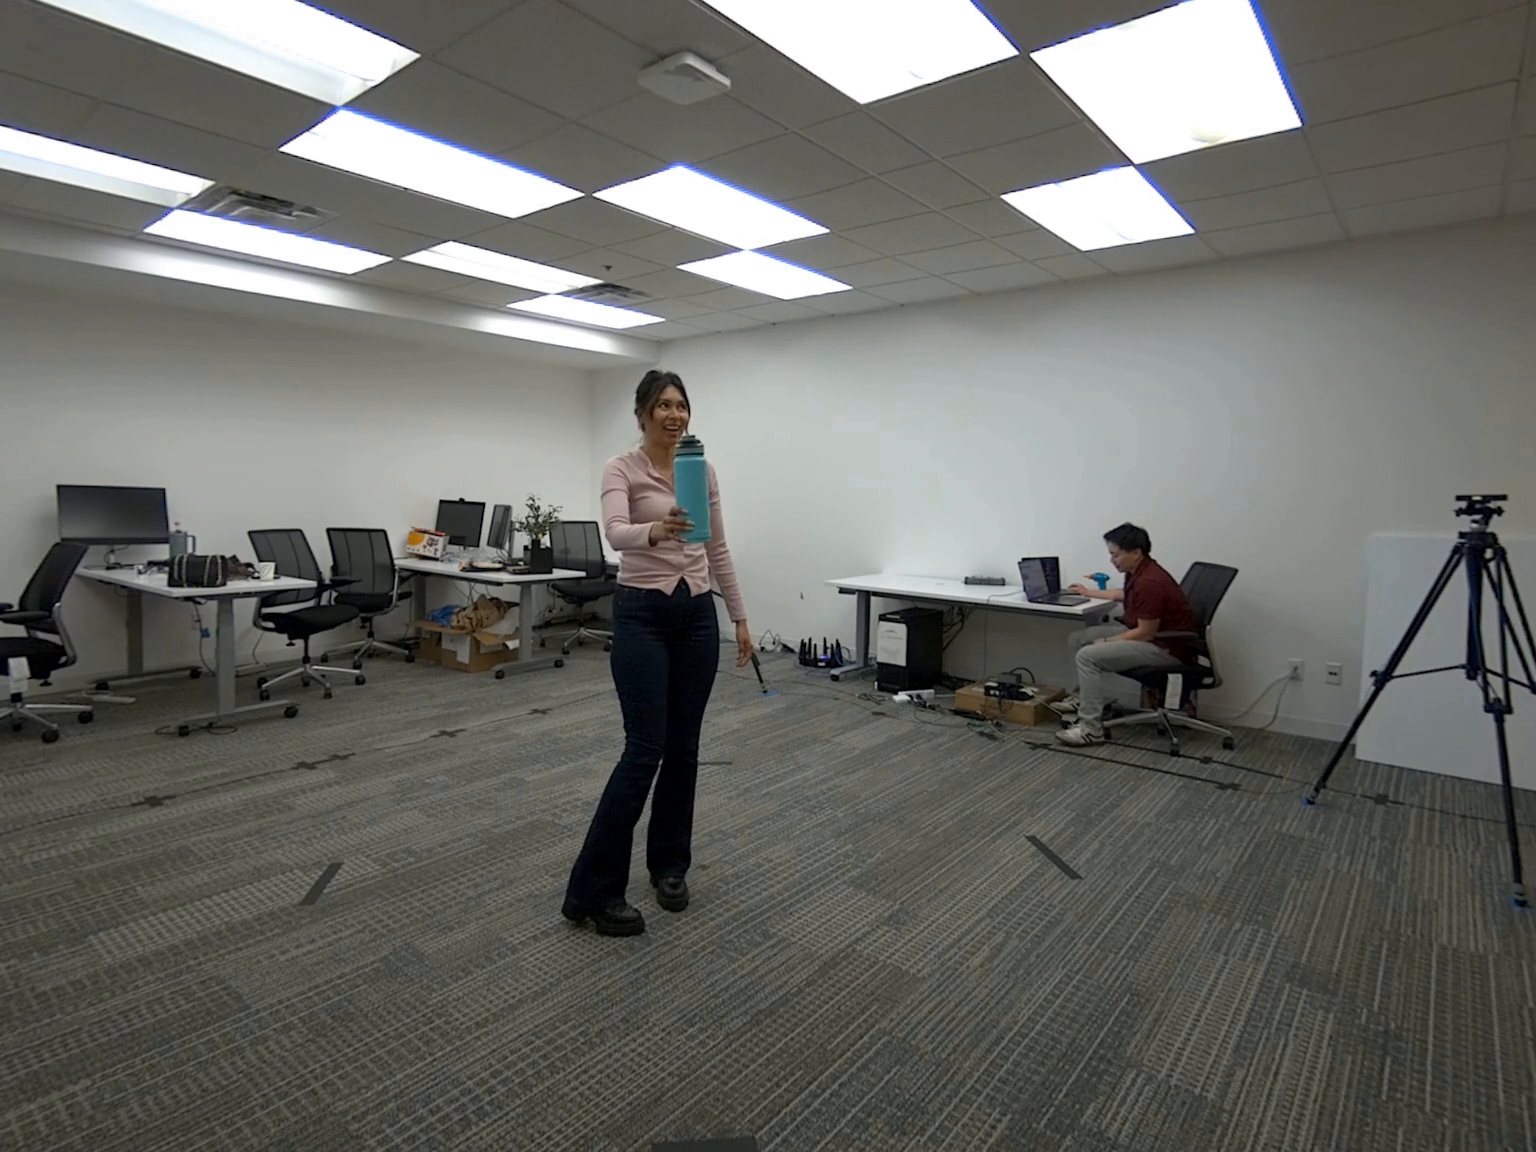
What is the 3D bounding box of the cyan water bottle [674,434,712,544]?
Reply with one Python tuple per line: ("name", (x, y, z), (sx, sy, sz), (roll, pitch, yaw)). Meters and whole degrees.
("cyan water bottle", (-0.215, -0.239, 2.264), (0.092, 0.283, 0.092), (-4, 1, -2))
